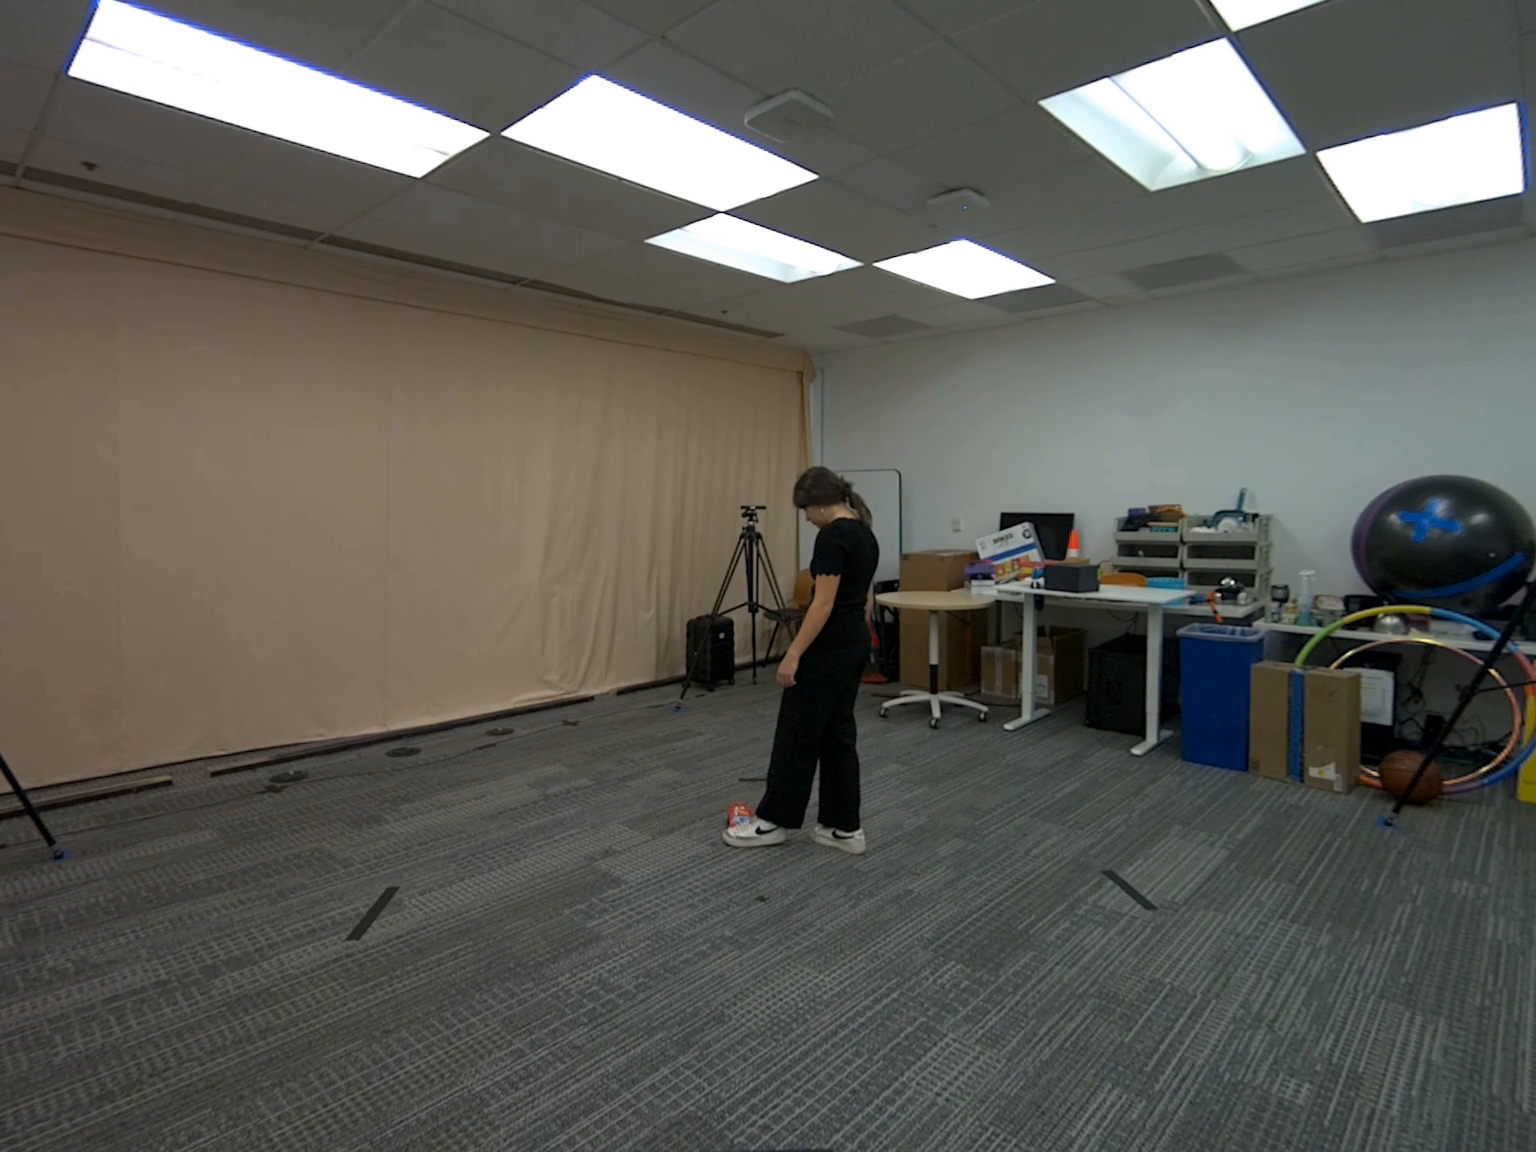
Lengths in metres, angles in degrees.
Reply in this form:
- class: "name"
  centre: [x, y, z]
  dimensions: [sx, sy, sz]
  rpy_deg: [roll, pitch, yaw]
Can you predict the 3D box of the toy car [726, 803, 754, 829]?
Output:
- class: "toy car"
  centre: [-0.116, 1.058, 3.648]
  dimensions: [0.130, 0.082, 0.258]
  rpy_deg: [-1, 17, -4]
